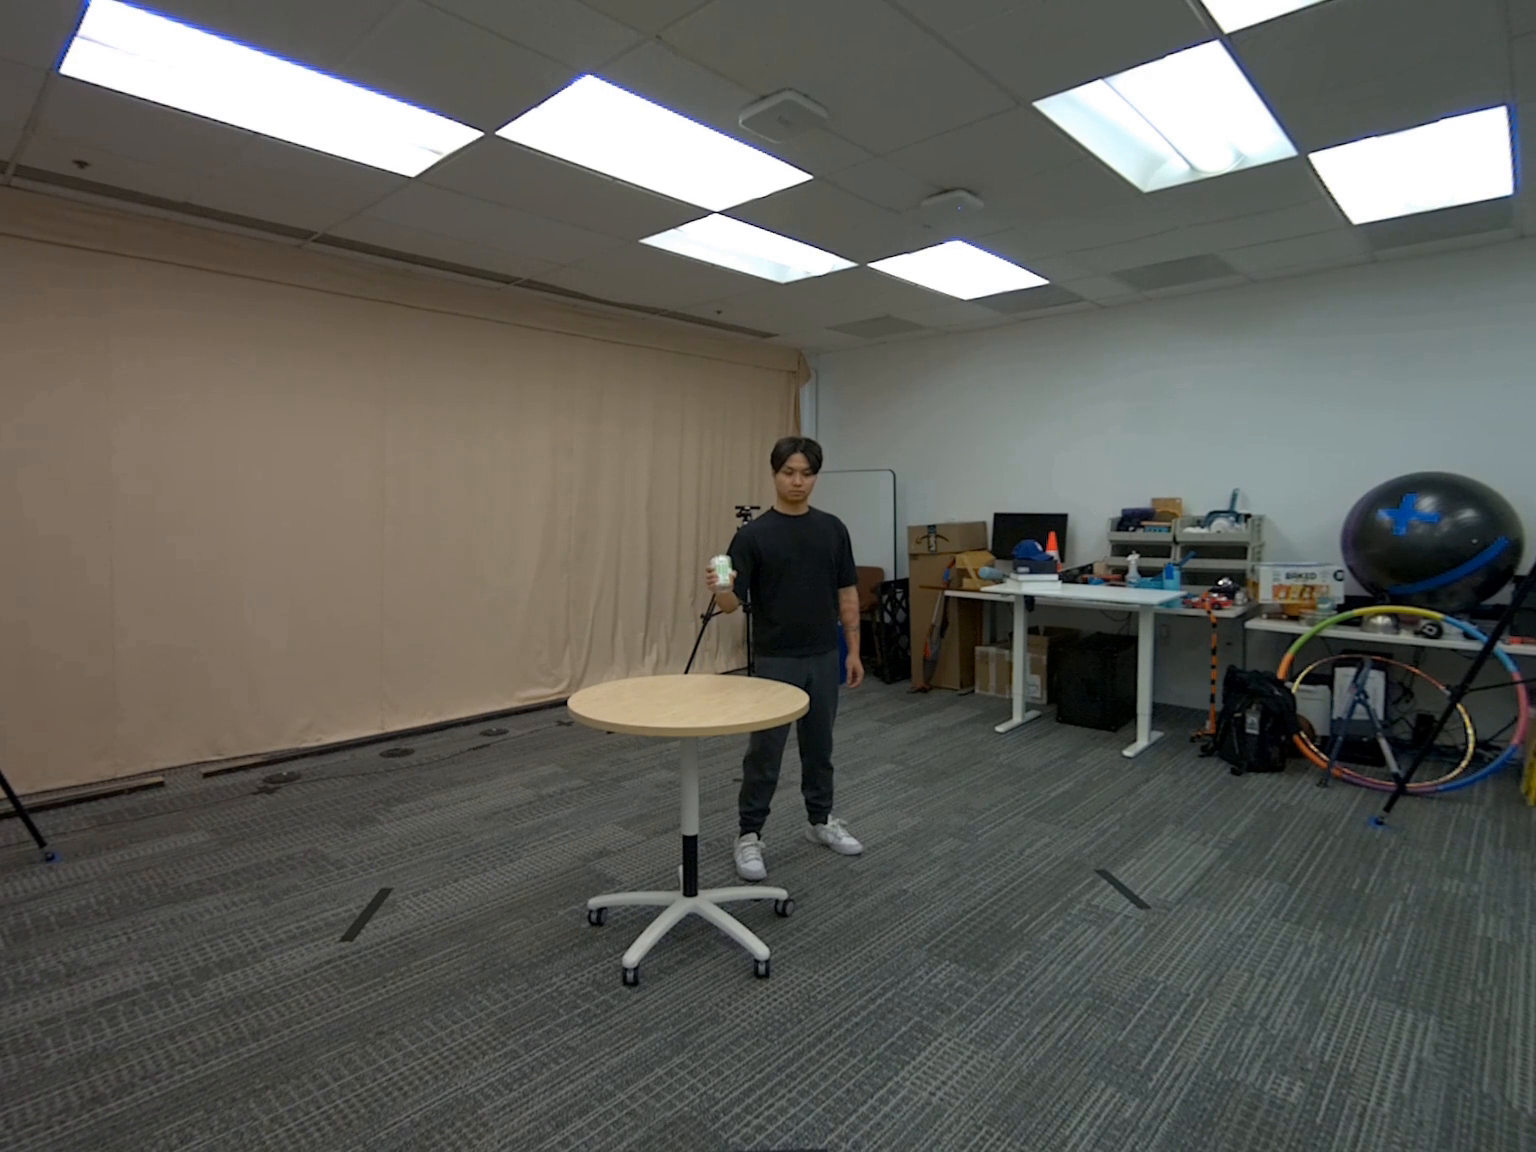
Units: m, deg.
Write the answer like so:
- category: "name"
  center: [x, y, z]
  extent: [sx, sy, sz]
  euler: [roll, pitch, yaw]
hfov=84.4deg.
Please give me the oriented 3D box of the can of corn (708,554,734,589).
- category: "can of corn"
  center: [-0.163, -0.010, 2.917]
  extent: [0.074, 0.112, 0.073]
  euler: [-5, -20, -4]
